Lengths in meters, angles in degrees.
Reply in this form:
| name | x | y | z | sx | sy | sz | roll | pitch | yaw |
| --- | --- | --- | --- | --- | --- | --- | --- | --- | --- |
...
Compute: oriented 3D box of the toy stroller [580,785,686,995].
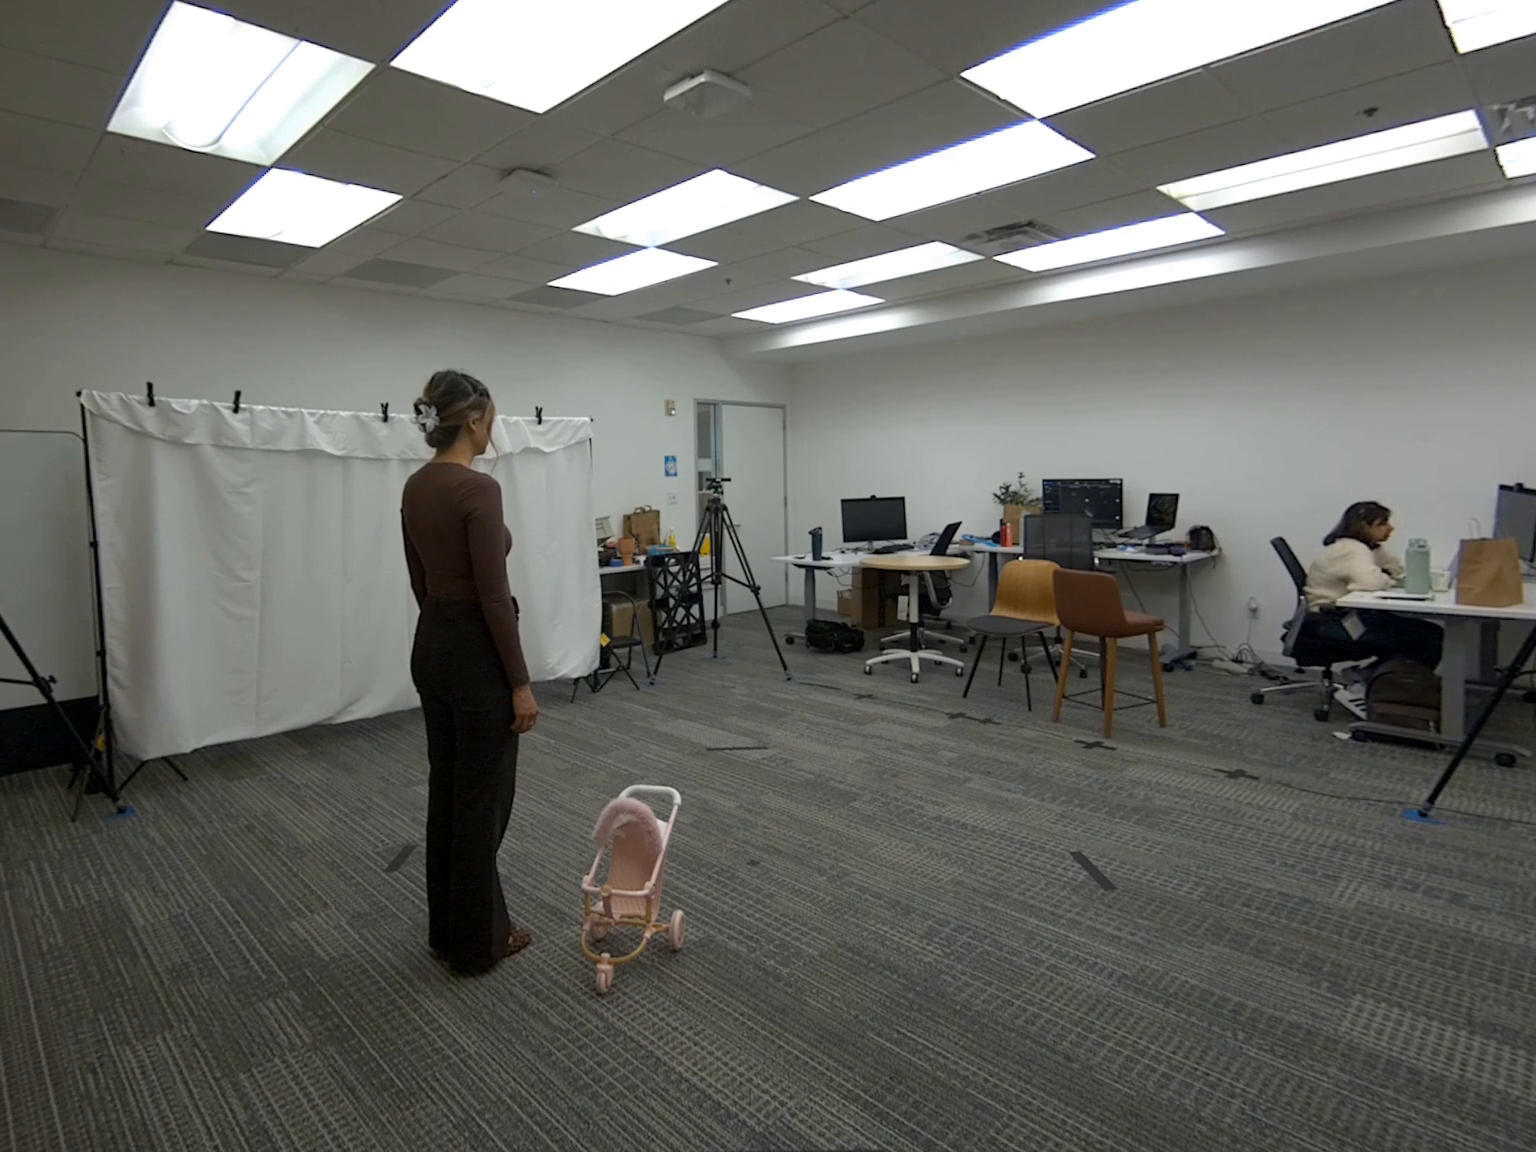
| name | x | y | z | sx | sy | sz | roll | pitch | yaw |
| --- | --- | --- | --- | --- | --- | --- | --- | --- | --- |
| toy stroller | -0.411 | 0.899 | 2.513 | 0.286 | 0.540 | 0.332 | -1 | -12 | 18 |
